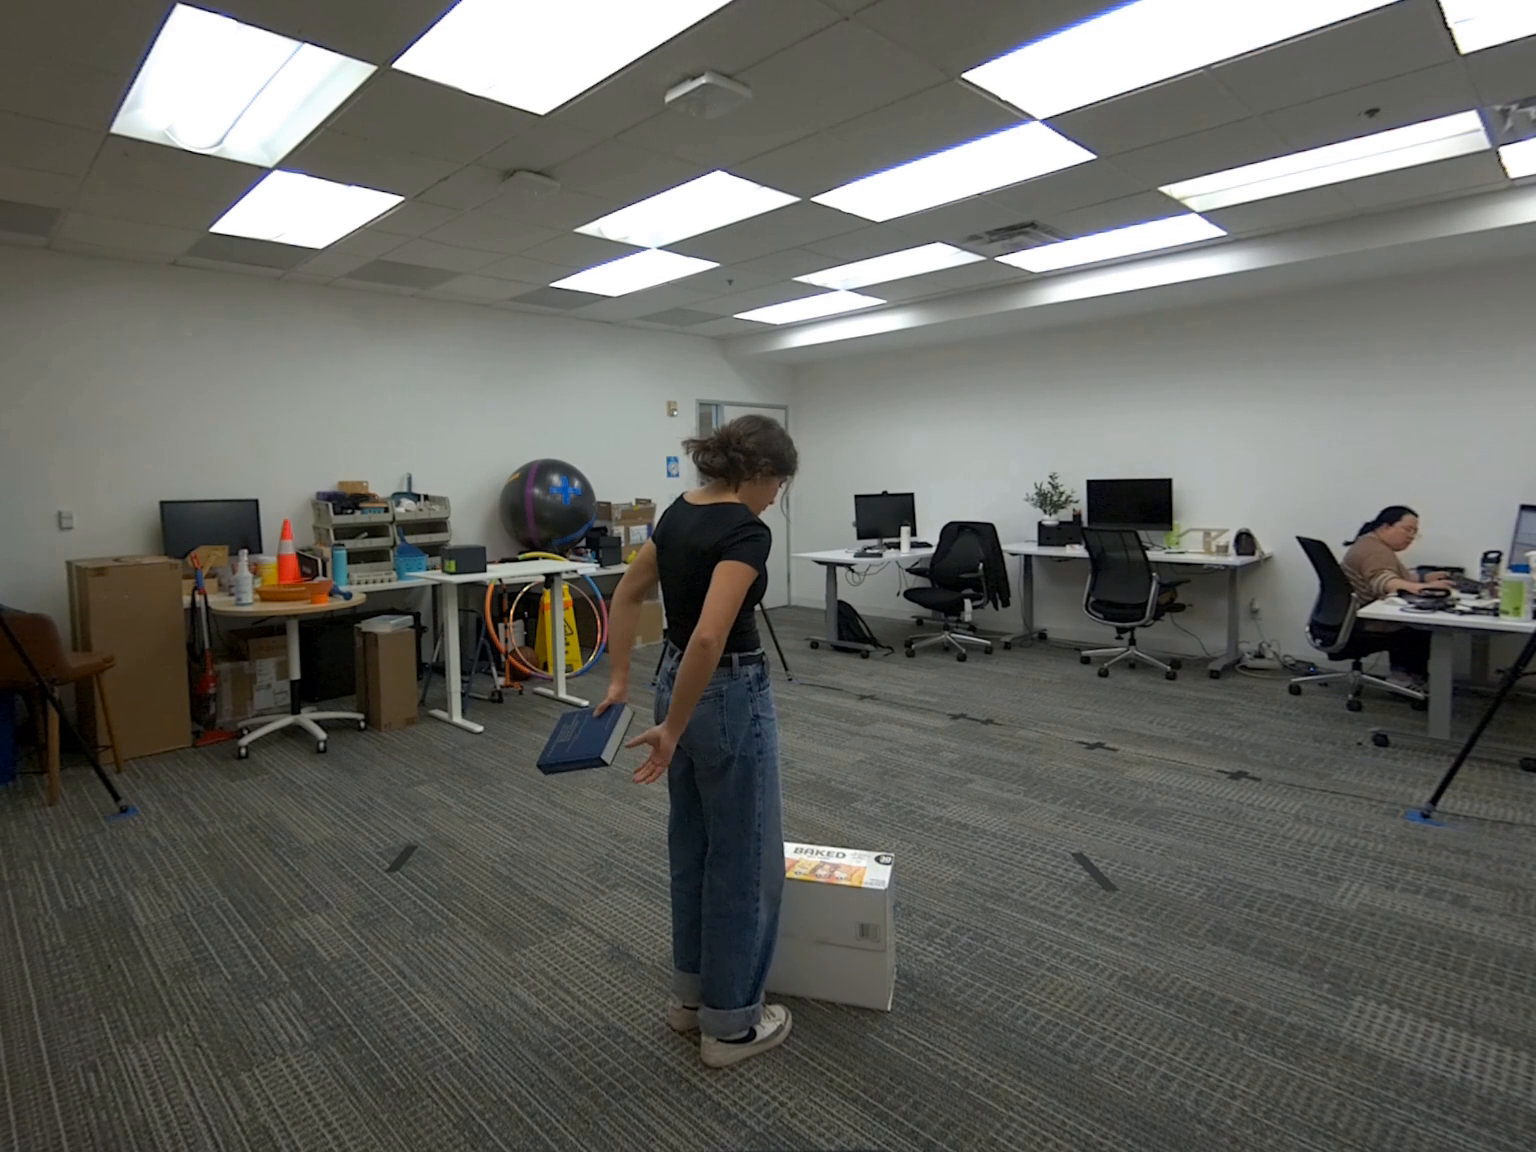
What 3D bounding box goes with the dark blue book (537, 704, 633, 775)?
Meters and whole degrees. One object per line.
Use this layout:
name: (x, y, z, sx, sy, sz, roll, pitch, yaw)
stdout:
dark blue book: (-0.458, 0.414, 2.157, 0.250, 0.044, 0.165, -16, 35, 36)
